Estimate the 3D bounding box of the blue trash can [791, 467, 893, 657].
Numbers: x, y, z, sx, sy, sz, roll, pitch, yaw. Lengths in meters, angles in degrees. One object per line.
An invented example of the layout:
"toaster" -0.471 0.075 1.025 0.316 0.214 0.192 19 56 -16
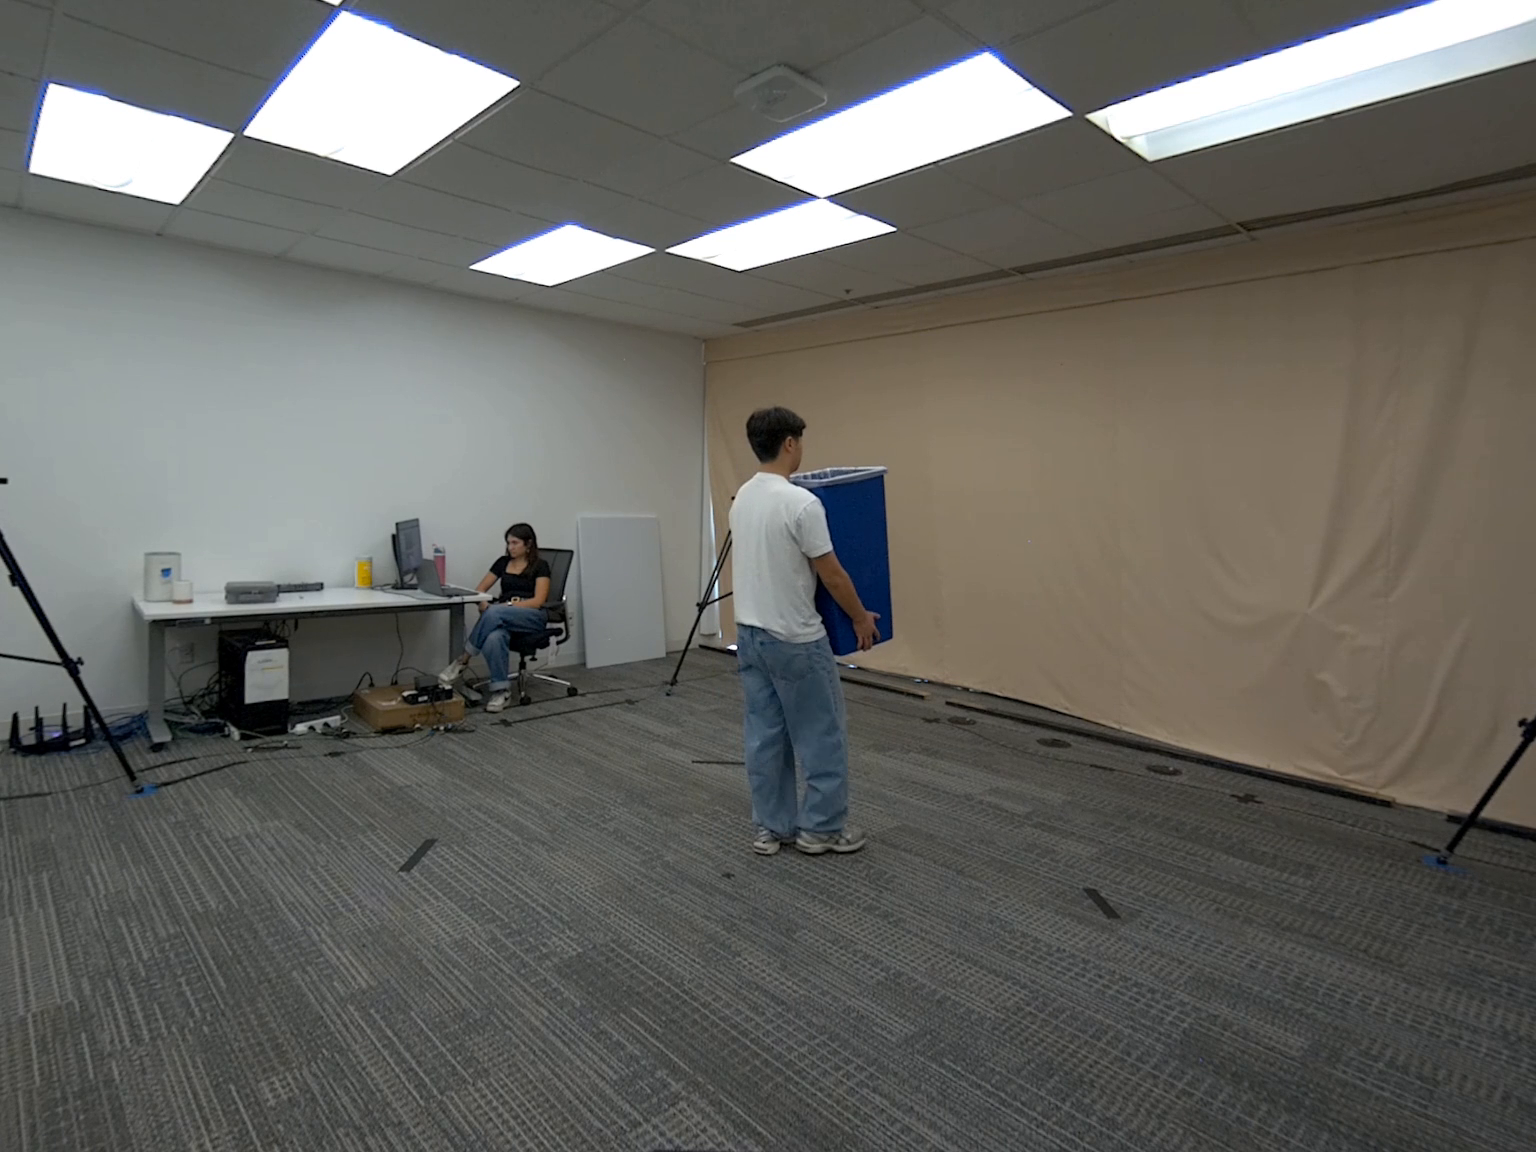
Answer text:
"blue trash can" 0.289 -0.075 3.498 0.372 0.708 0.383 -14 11 -35
